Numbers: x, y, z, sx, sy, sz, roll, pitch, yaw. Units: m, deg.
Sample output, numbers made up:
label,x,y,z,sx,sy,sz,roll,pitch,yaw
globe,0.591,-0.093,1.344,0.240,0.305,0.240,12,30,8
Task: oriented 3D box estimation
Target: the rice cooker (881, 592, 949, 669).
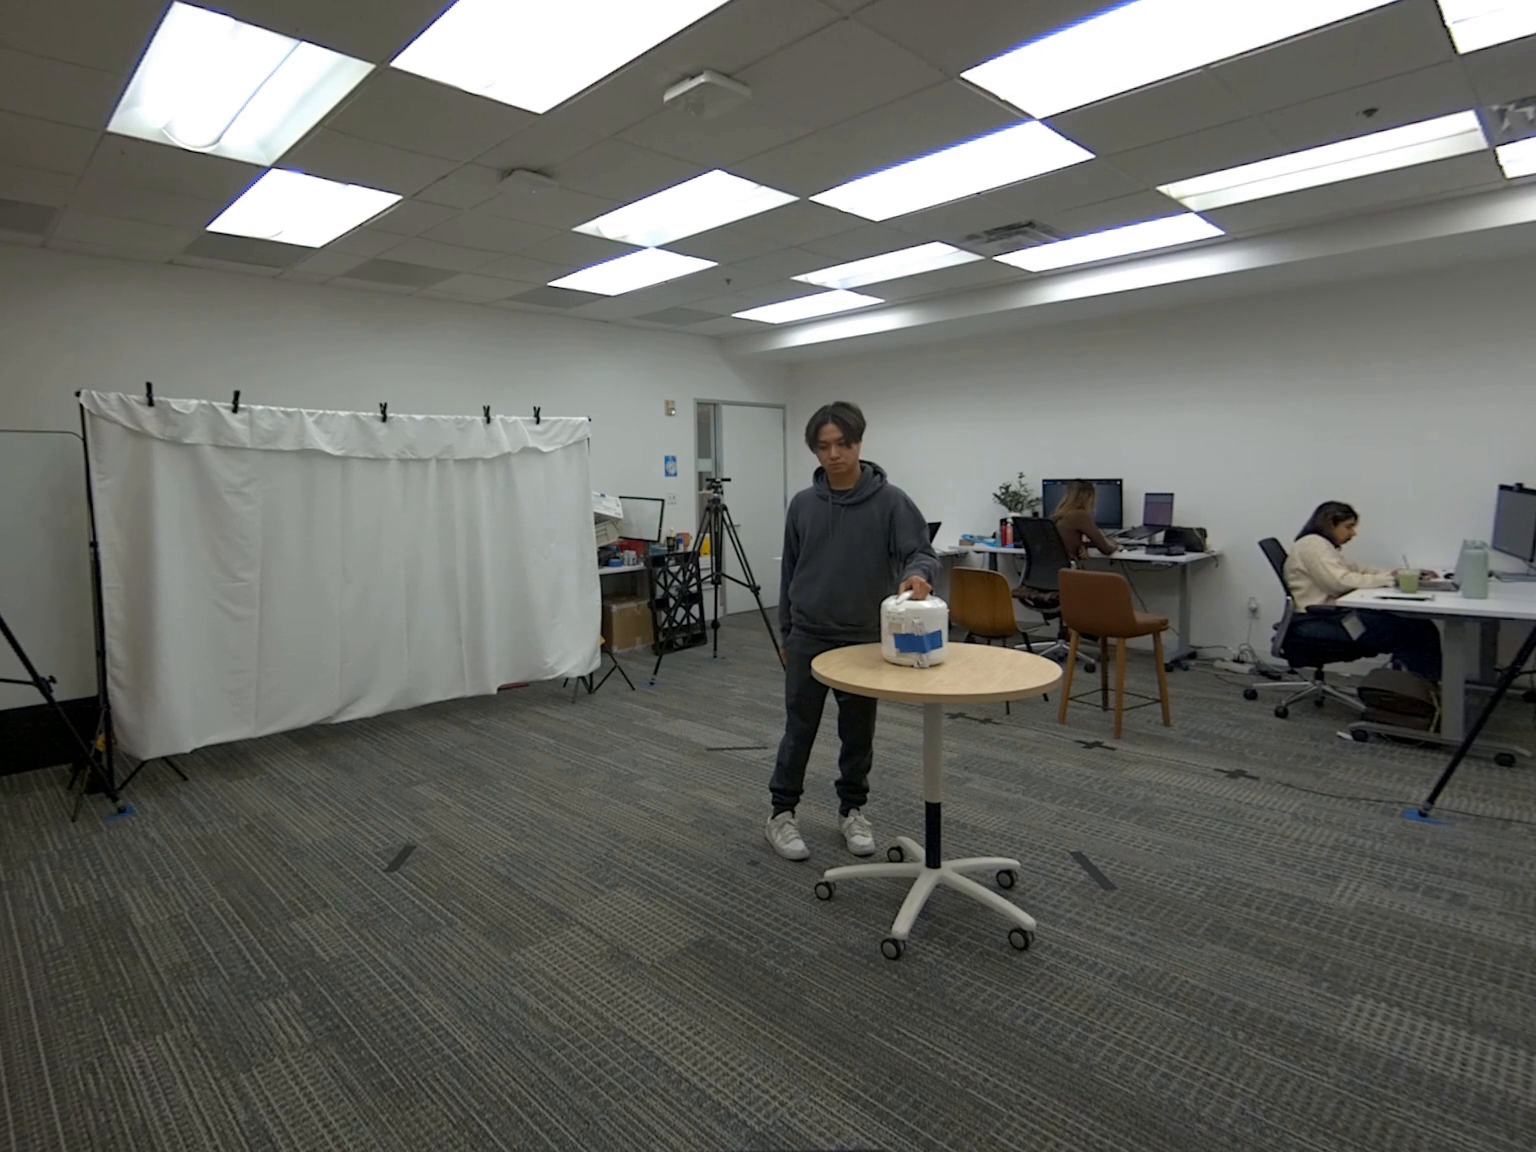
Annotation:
label,x,y,z,sx,sy,sz,roll,pitch,yaw
rice cooker,0.457,0.163,2.740,0.215,0.232,0.224,-6,7,-45
